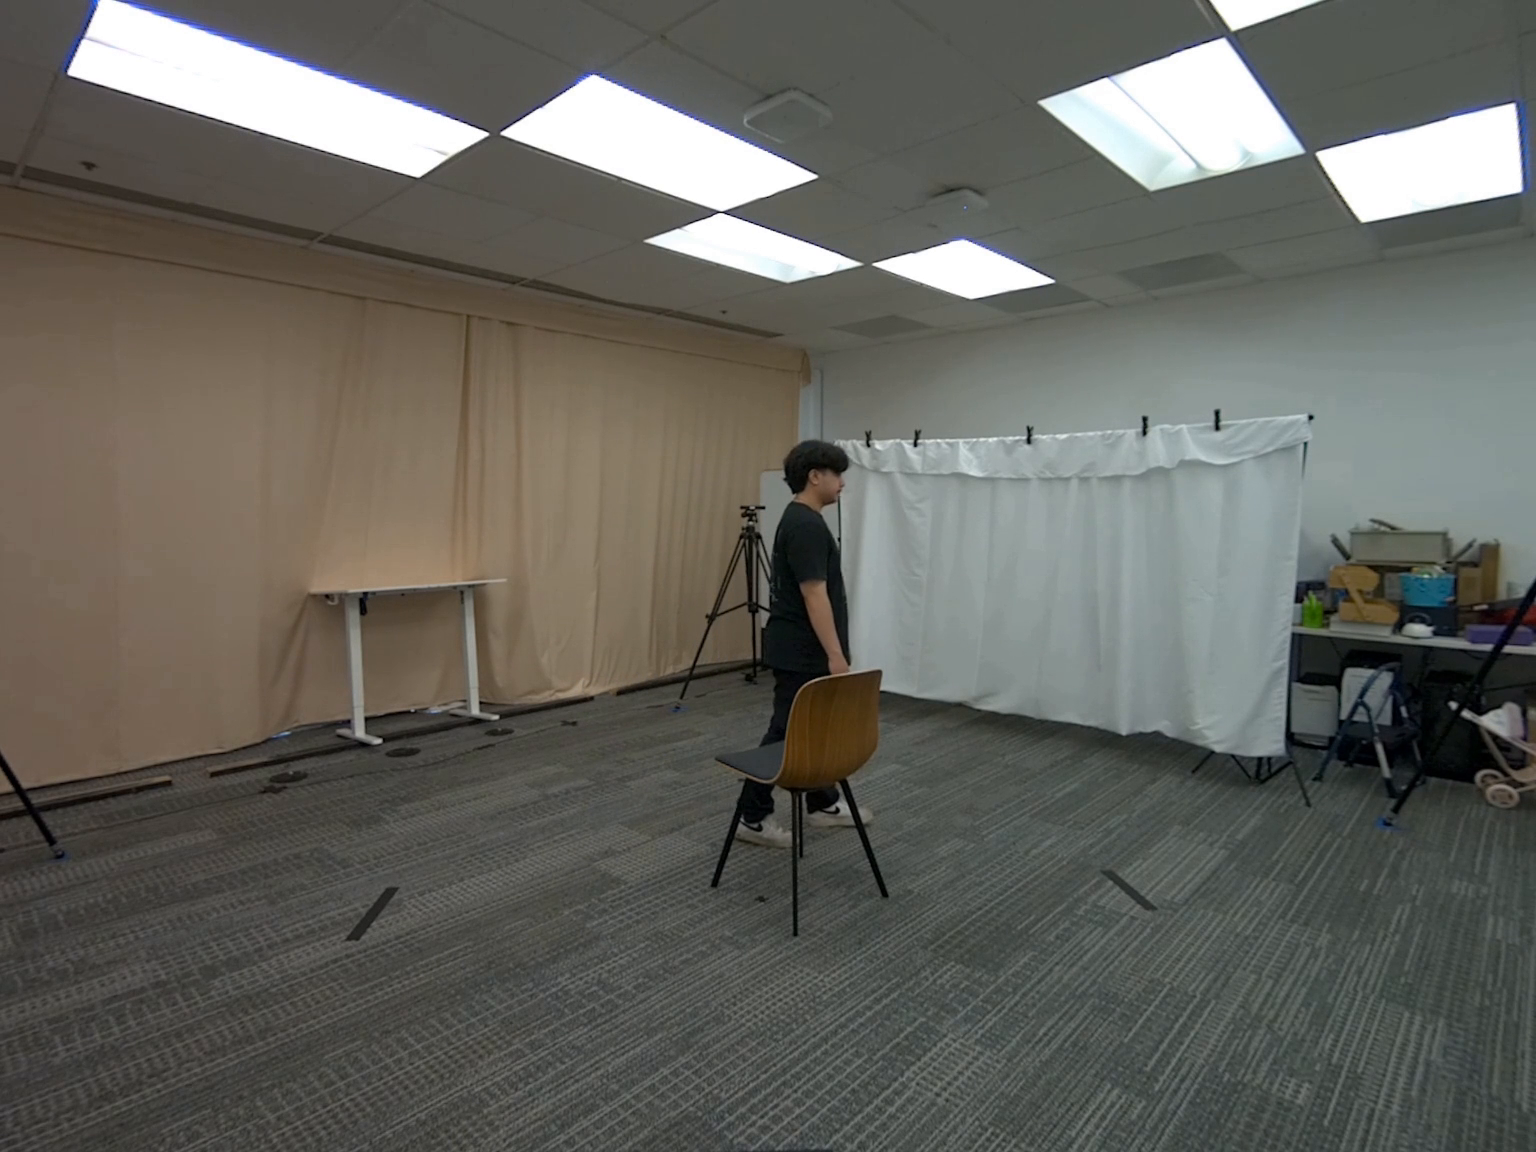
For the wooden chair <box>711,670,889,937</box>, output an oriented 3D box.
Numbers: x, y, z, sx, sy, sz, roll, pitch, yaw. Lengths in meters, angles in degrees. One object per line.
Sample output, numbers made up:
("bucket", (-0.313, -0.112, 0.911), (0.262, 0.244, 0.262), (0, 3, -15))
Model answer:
("wooden chair", (0.103, 0.712, 3.011), (0.464, 0.874, 0.541), (-3, 9, -39))
